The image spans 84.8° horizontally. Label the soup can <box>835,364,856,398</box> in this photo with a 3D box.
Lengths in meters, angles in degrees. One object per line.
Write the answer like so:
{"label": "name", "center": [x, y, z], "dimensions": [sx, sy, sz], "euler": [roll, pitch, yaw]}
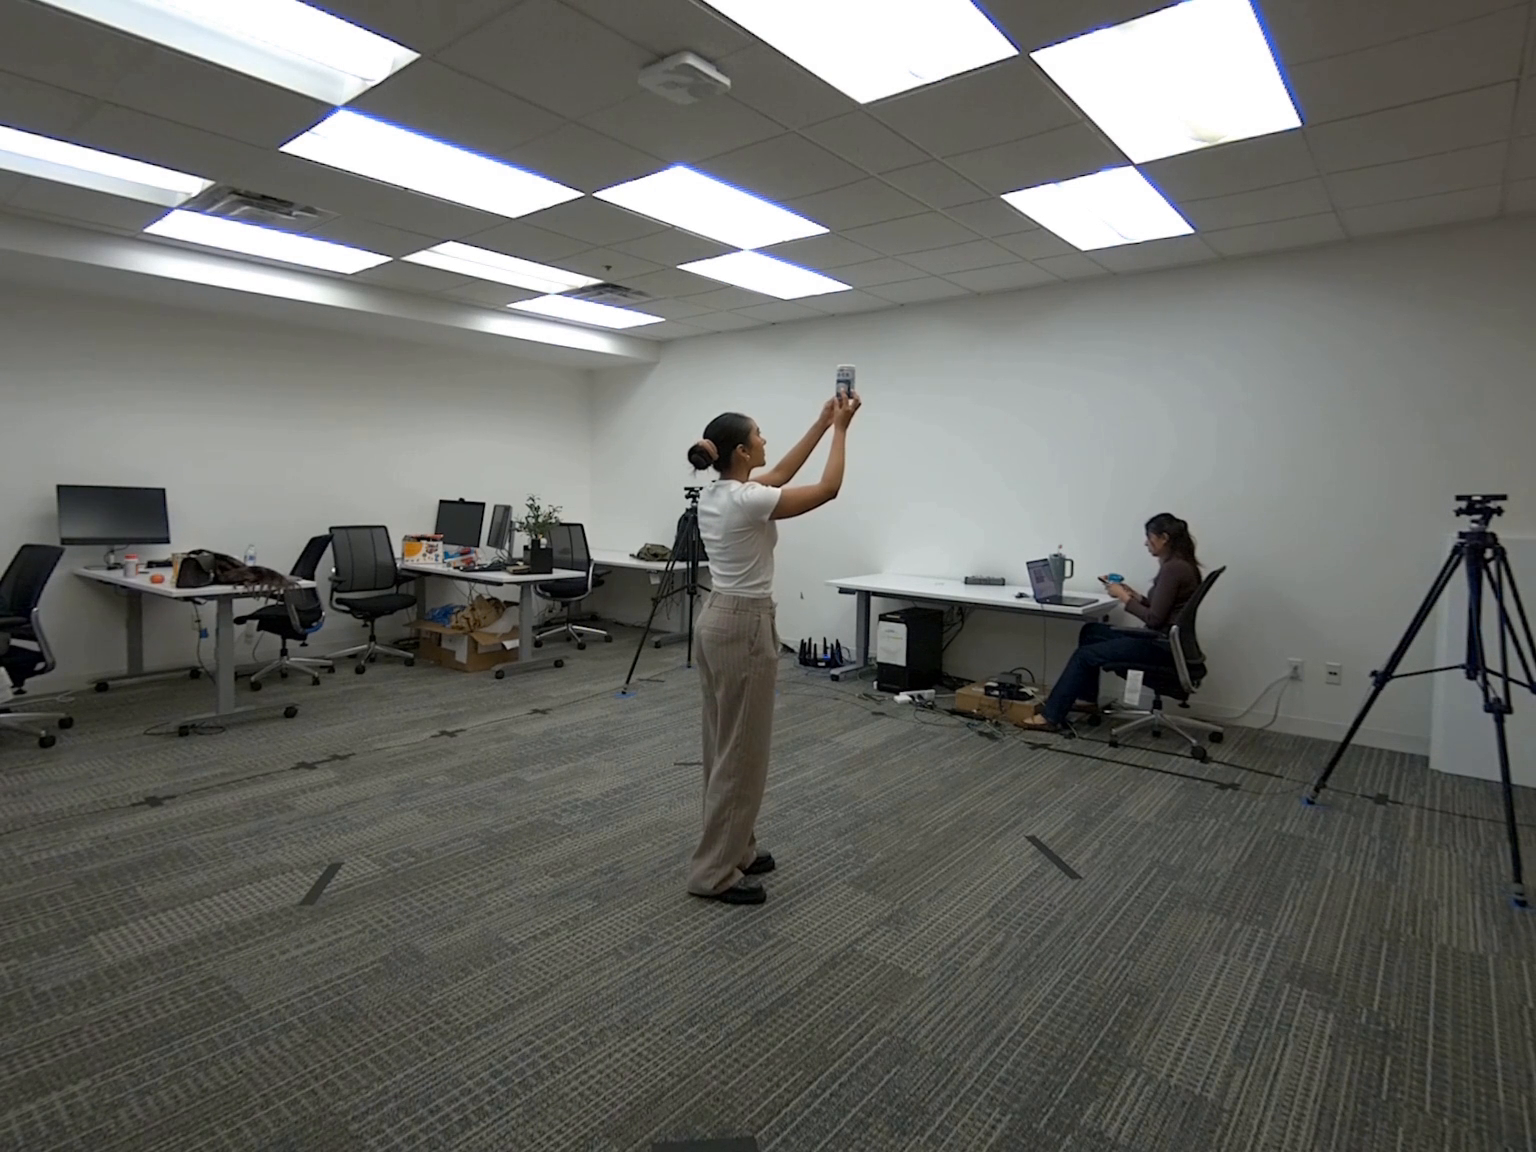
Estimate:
{"label": "soup can", "center": [0.270, -0.698, 3.031], "dimensions": [0.067, 0.120, 0.068], "euler": [1, 8, -2]}
